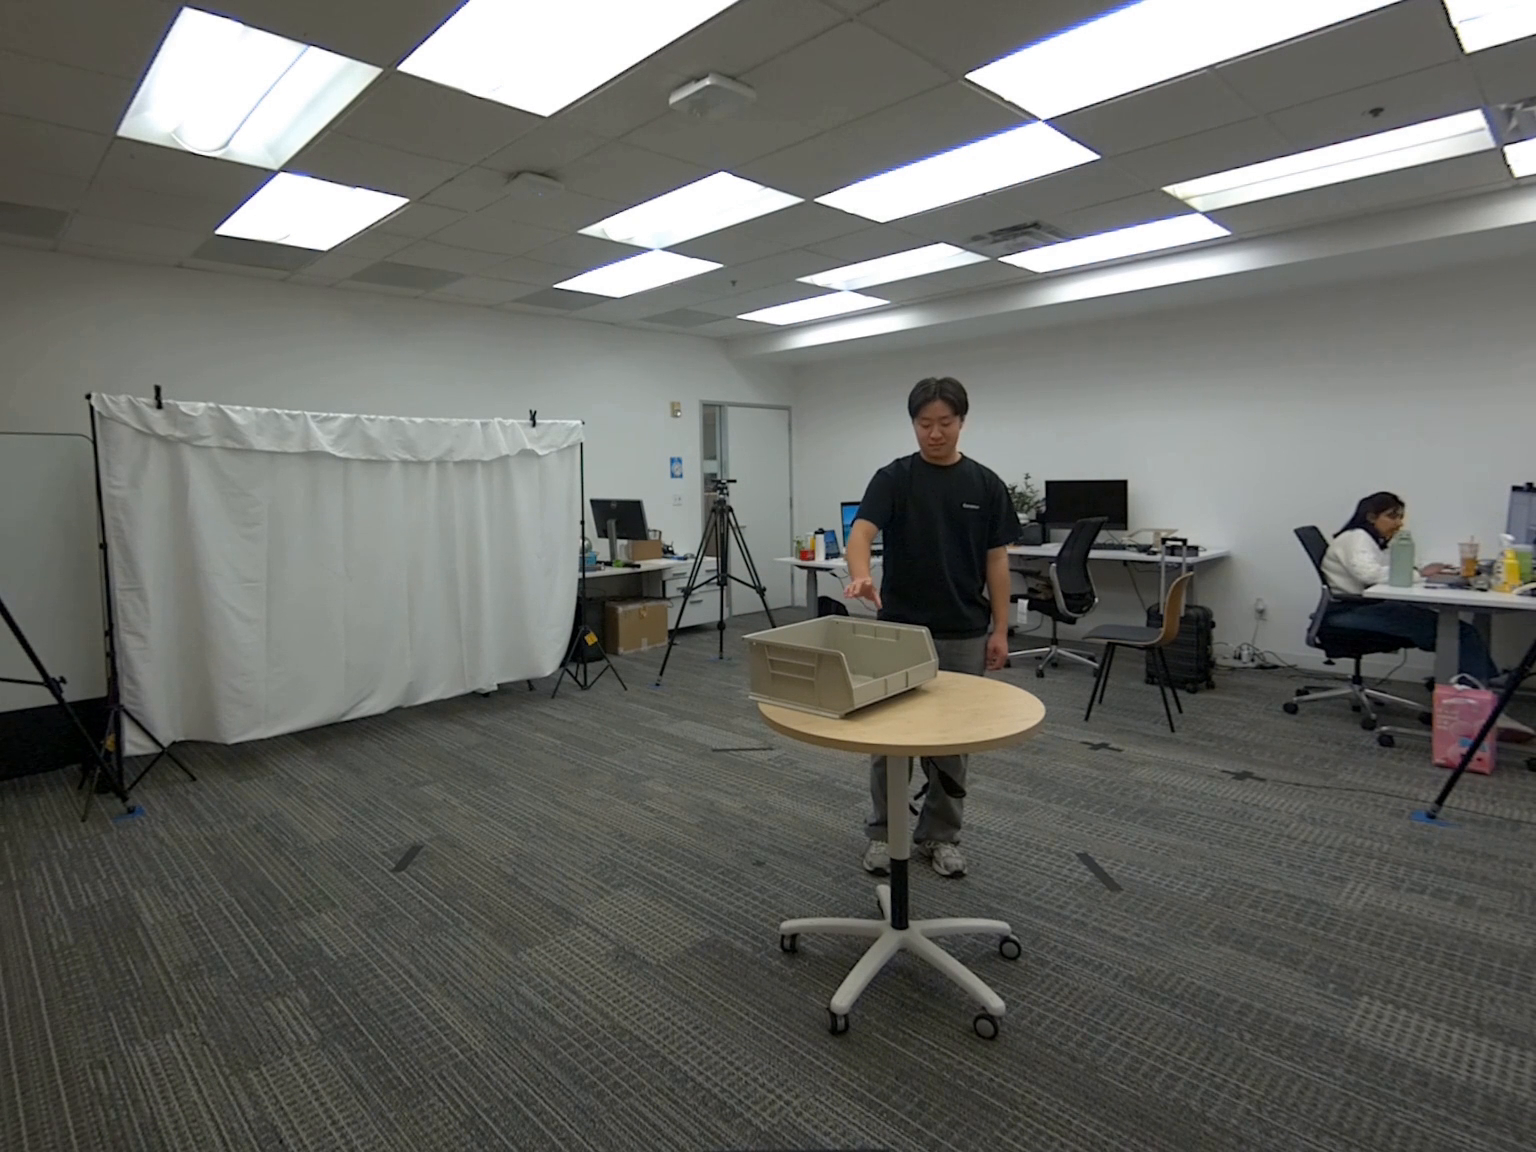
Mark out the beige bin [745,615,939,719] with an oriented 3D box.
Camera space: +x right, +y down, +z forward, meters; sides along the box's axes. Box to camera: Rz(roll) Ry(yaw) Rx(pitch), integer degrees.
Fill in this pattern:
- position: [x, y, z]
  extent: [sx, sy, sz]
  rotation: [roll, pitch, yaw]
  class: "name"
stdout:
- position: [0.211, 0.249, 2.419]
  extent: [0.389, 0.188, 0.412]
  rotation: [3, 8, 43]
  class: "beige bin"
